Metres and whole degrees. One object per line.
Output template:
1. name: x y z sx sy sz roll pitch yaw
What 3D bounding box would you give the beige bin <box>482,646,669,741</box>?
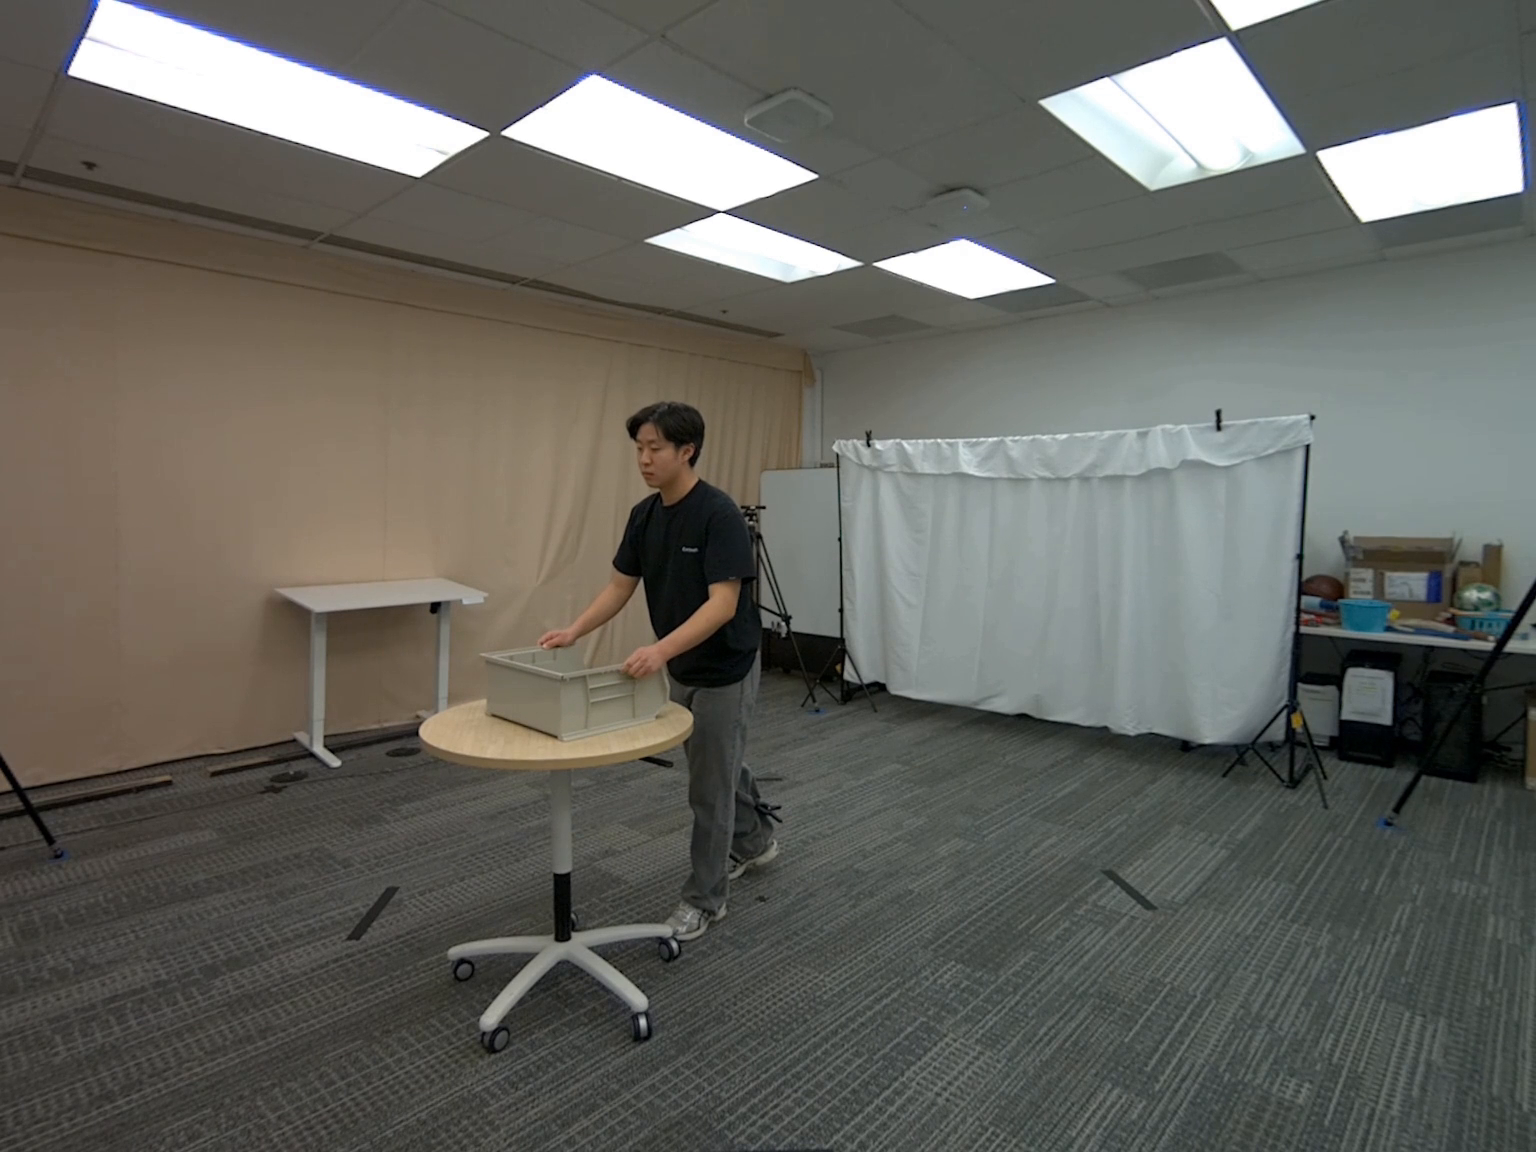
1. beige bin: -0.570 0.322 2.443 0.436 0.188 0.366 5 8 43
